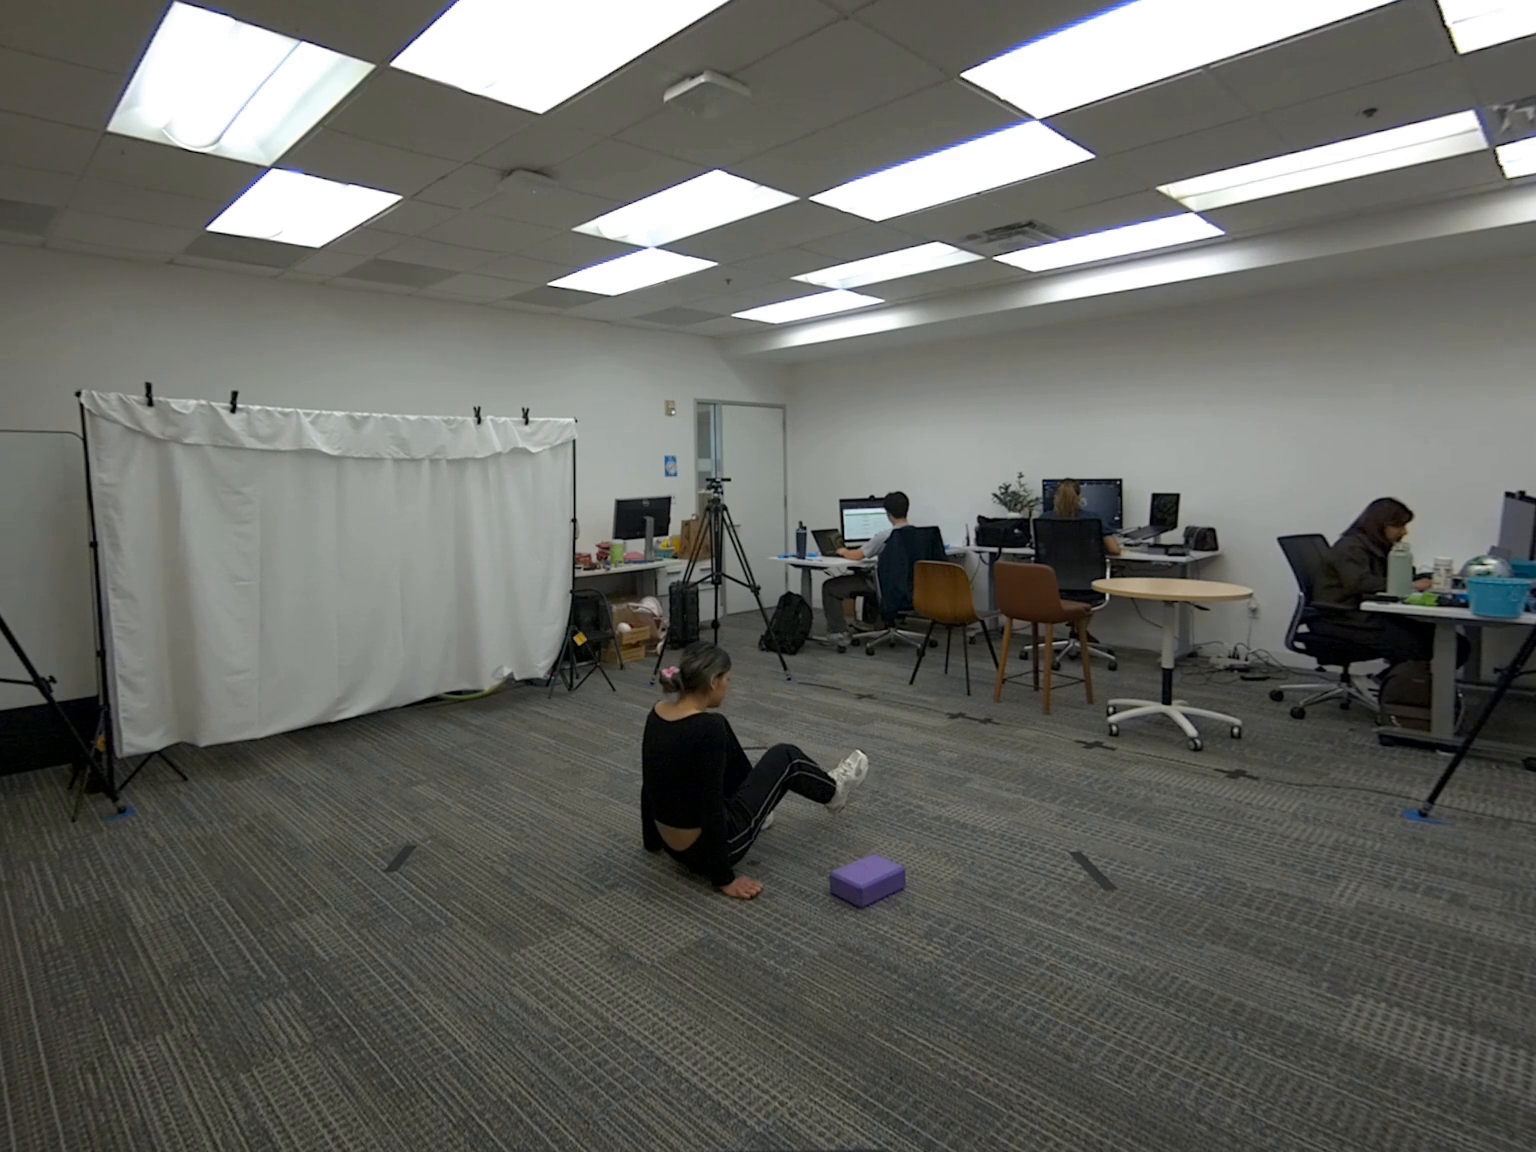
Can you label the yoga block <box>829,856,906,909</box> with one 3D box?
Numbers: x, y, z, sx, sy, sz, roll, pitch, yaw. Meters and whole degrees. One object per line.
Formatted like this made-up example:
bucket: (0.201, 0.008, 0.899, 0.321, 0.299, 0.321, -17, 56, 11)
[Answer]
yoga block: (0.335, 1.019, 2.869, 0.223, 0.076, 0.153, -5, 7, -40)
